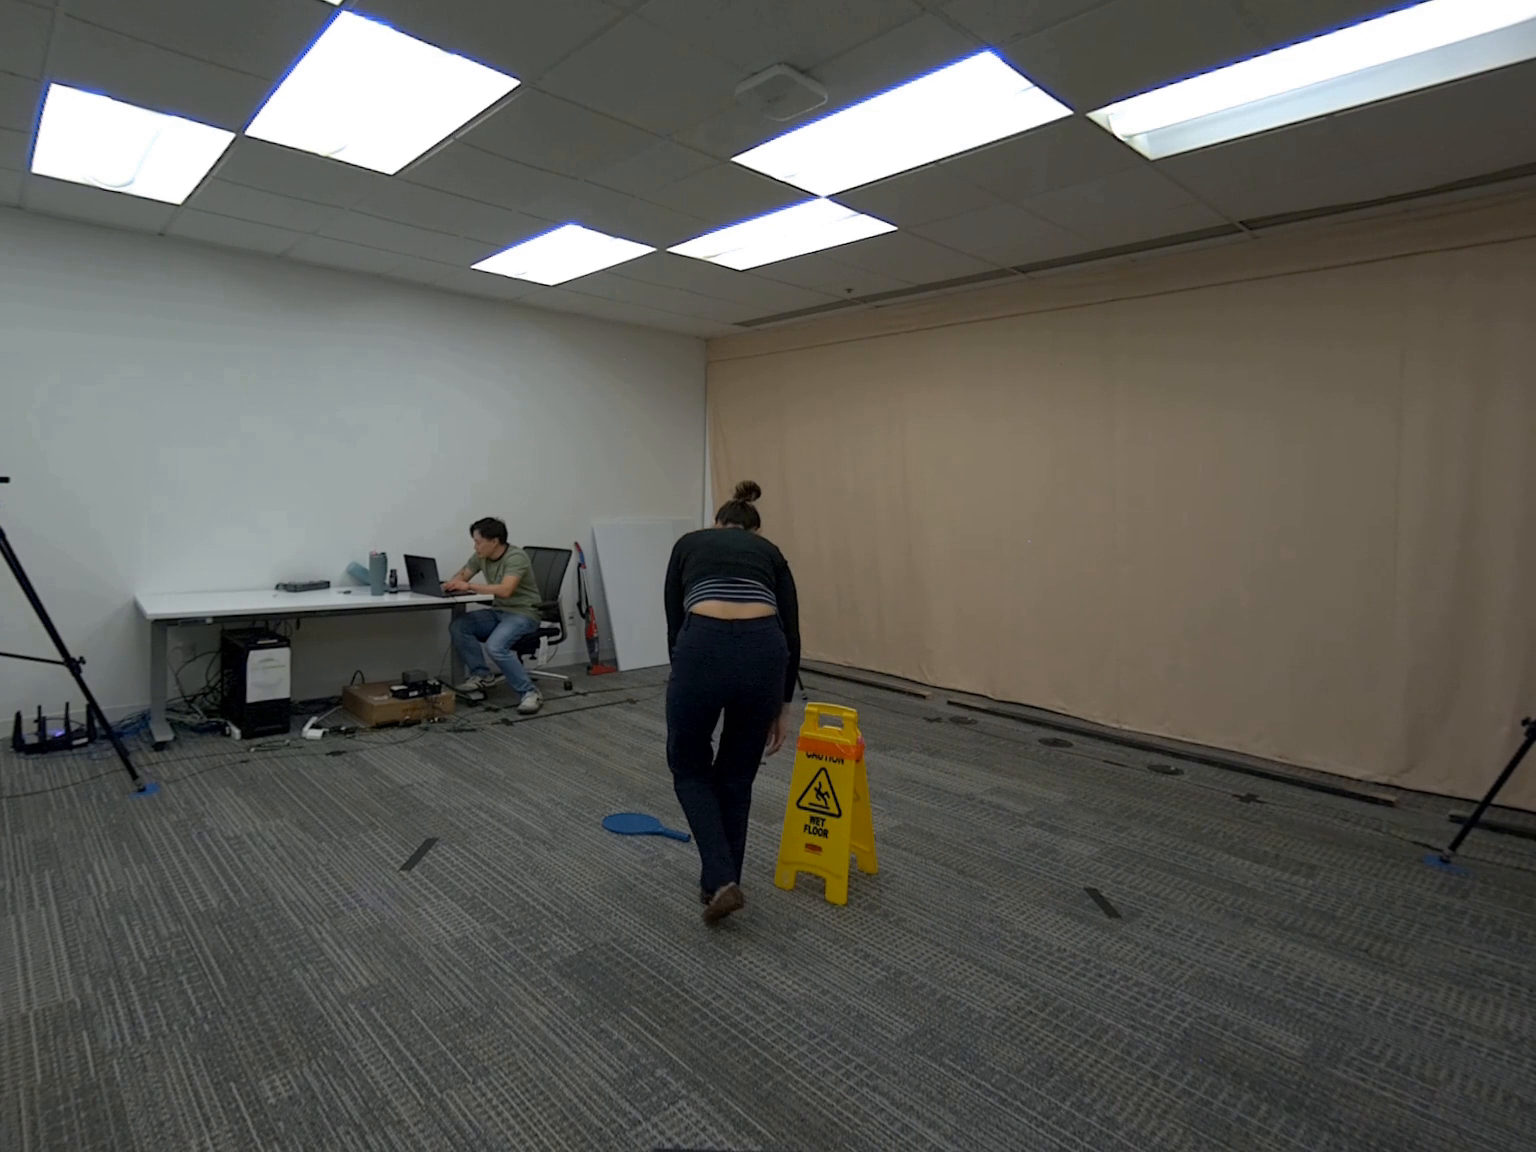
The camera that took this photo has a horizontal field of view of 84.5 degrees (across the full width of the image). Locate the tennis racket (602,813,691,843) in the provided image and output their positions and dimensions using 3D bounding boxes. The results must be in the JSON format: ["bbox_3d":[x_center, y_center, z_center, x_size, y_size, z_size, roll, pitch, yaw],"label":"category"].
[{"bbox_3d":[-0.514,1.046,3.509,0.442,0.032,0.209,3,5,31],"label":"tennis racket"}]
